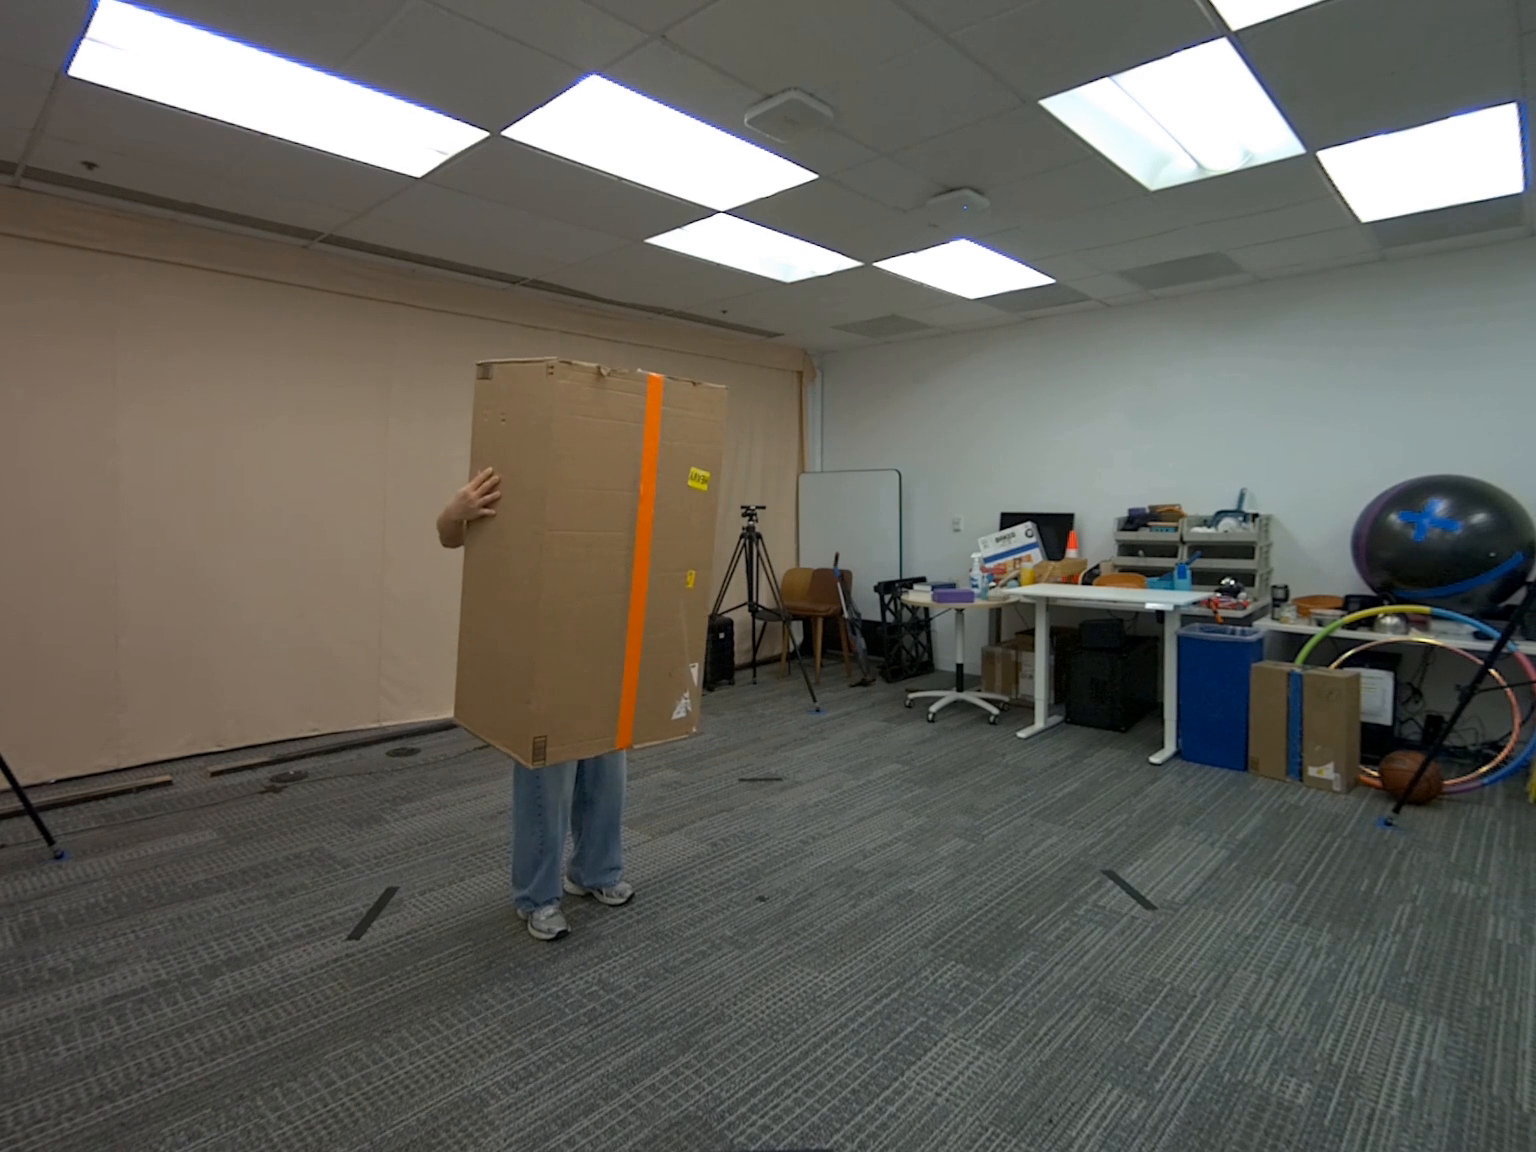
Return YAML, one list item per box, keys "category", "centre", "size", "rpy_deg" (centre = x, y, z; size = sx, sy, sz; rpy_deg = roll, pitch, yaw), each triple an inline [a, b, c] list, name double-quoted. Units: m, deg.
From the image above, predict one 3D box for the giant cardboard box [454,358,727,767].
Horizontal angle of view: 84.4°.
- category: "giant cardboard box"
  centre: [-0.498, -0.056, 2.395]
  size: [0.441, 1.022, 0.559]
  rpy_deg: [11, 8, 43]
